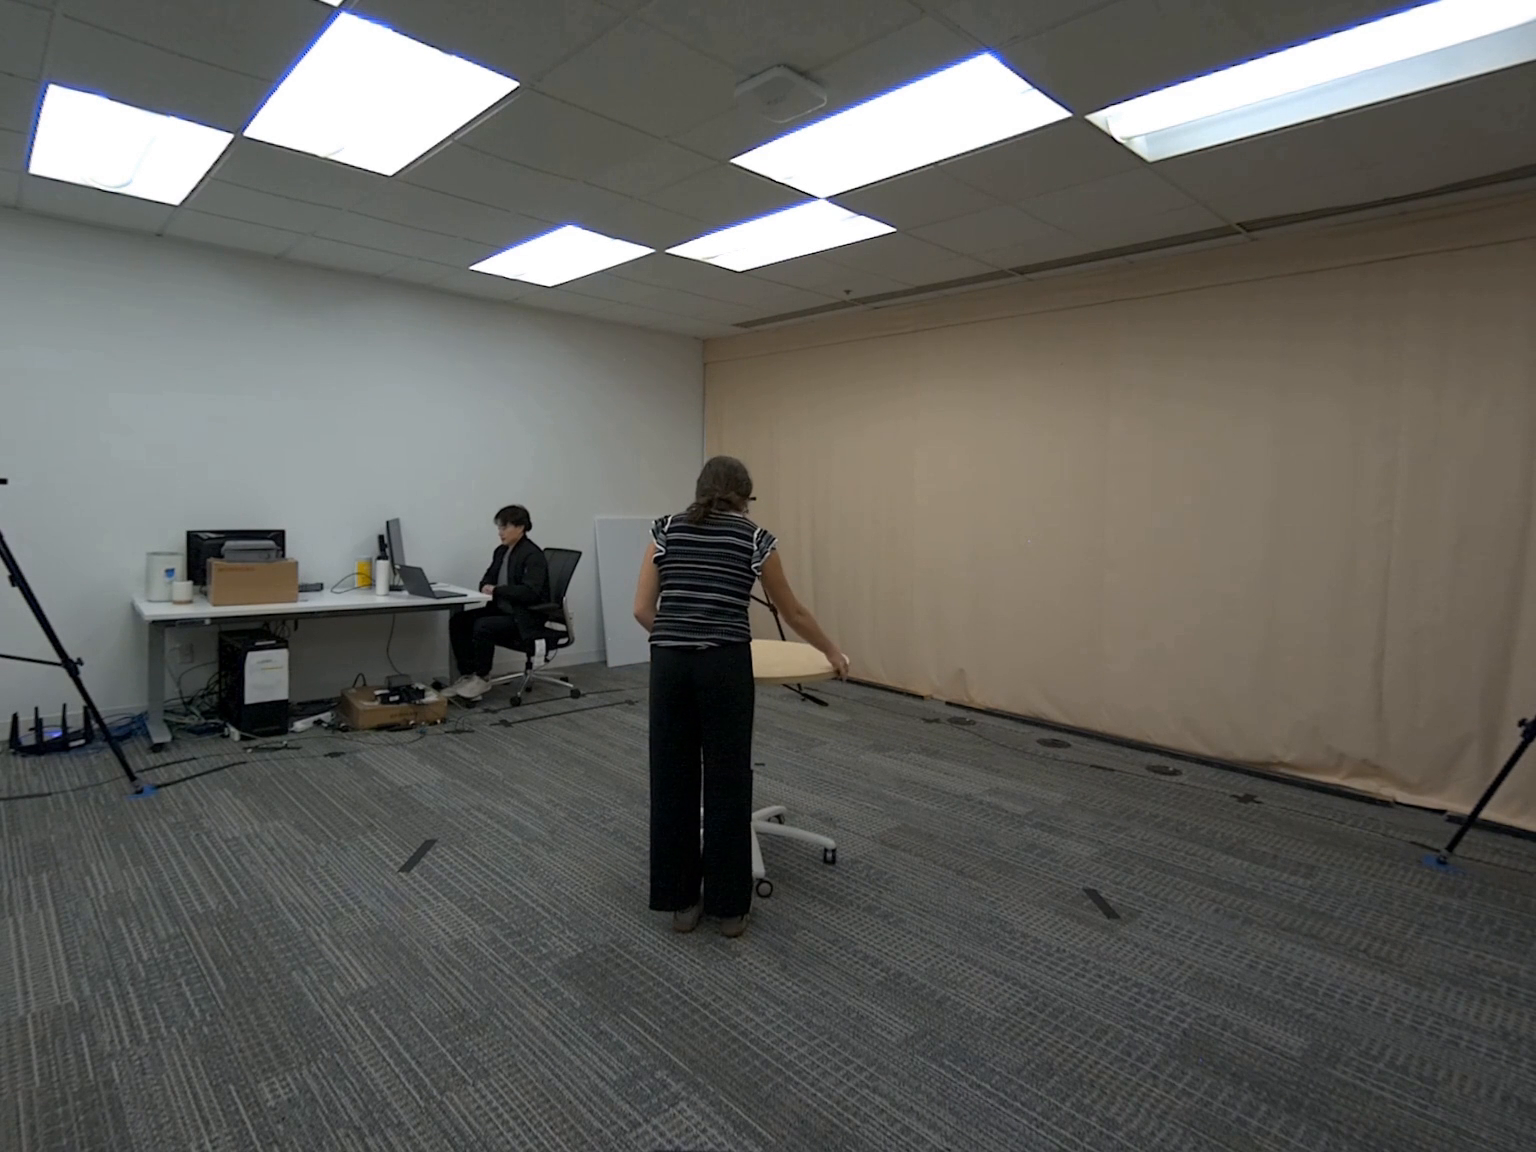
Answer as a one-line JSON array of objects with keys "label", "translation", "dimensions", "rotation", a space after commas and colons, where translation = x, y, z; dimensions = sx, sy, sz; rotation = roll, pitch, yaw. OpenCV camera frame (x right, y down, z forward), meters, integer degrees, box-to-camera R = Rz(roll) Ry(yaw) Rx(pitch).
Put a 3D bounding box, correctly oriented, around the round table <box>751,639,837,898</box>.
[{"label": "round table", "translation": [-0.099, 0.701, 3.269], "dimensions": [0.784, 0.784, 0.788], "rotation": [2, 4, -2]}]
